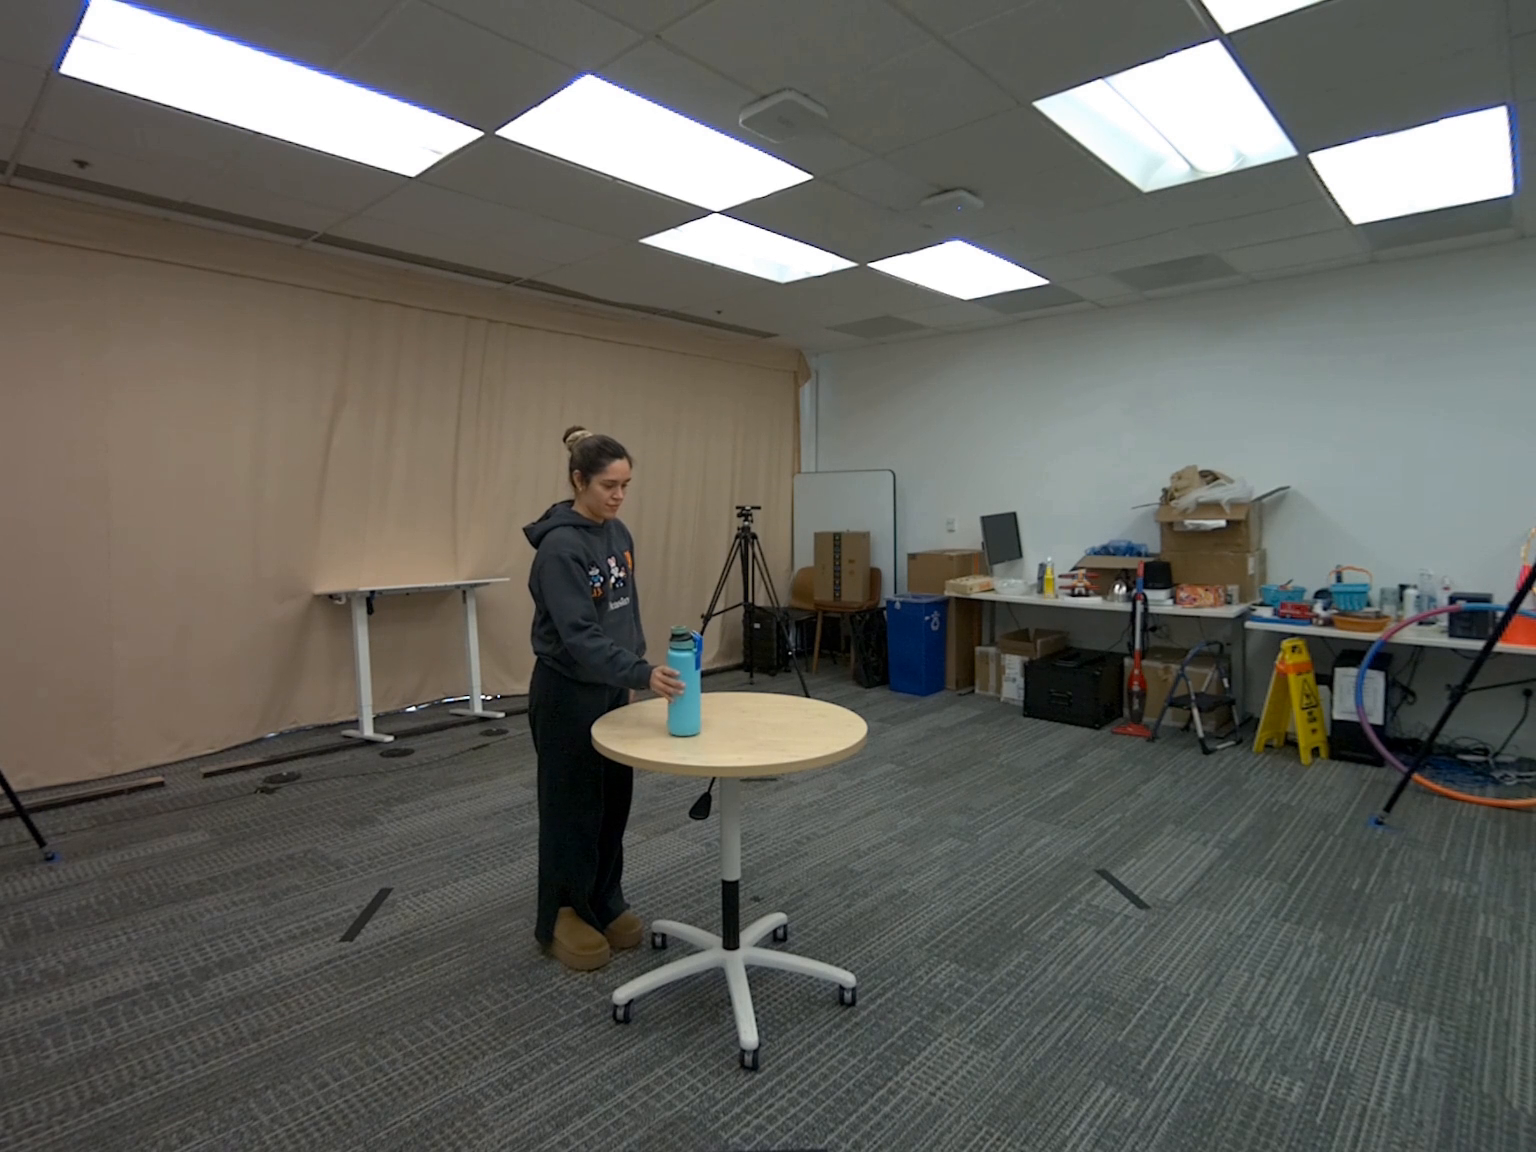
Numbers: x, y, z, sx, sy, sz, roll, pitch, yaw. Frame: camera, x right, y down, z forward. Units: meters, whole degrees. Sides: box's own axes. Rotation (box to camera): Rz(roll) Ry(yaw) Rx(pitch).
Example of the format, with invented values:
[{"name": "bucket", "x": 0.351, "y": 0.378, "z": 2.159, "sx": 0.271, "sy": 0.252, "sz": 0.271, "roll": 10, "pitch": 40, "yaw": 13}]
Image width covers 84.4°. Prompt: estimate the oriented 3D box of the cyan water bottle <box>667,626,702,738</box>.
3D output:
[{"name": "cyan water bottle", "x": -0.216, "y": 0.277, "z": 2.243, "sx": 0.092, "sy": 0.282, "sz": 0.093, "roll": 2, "pitch": 6, "yaw": -2}]
